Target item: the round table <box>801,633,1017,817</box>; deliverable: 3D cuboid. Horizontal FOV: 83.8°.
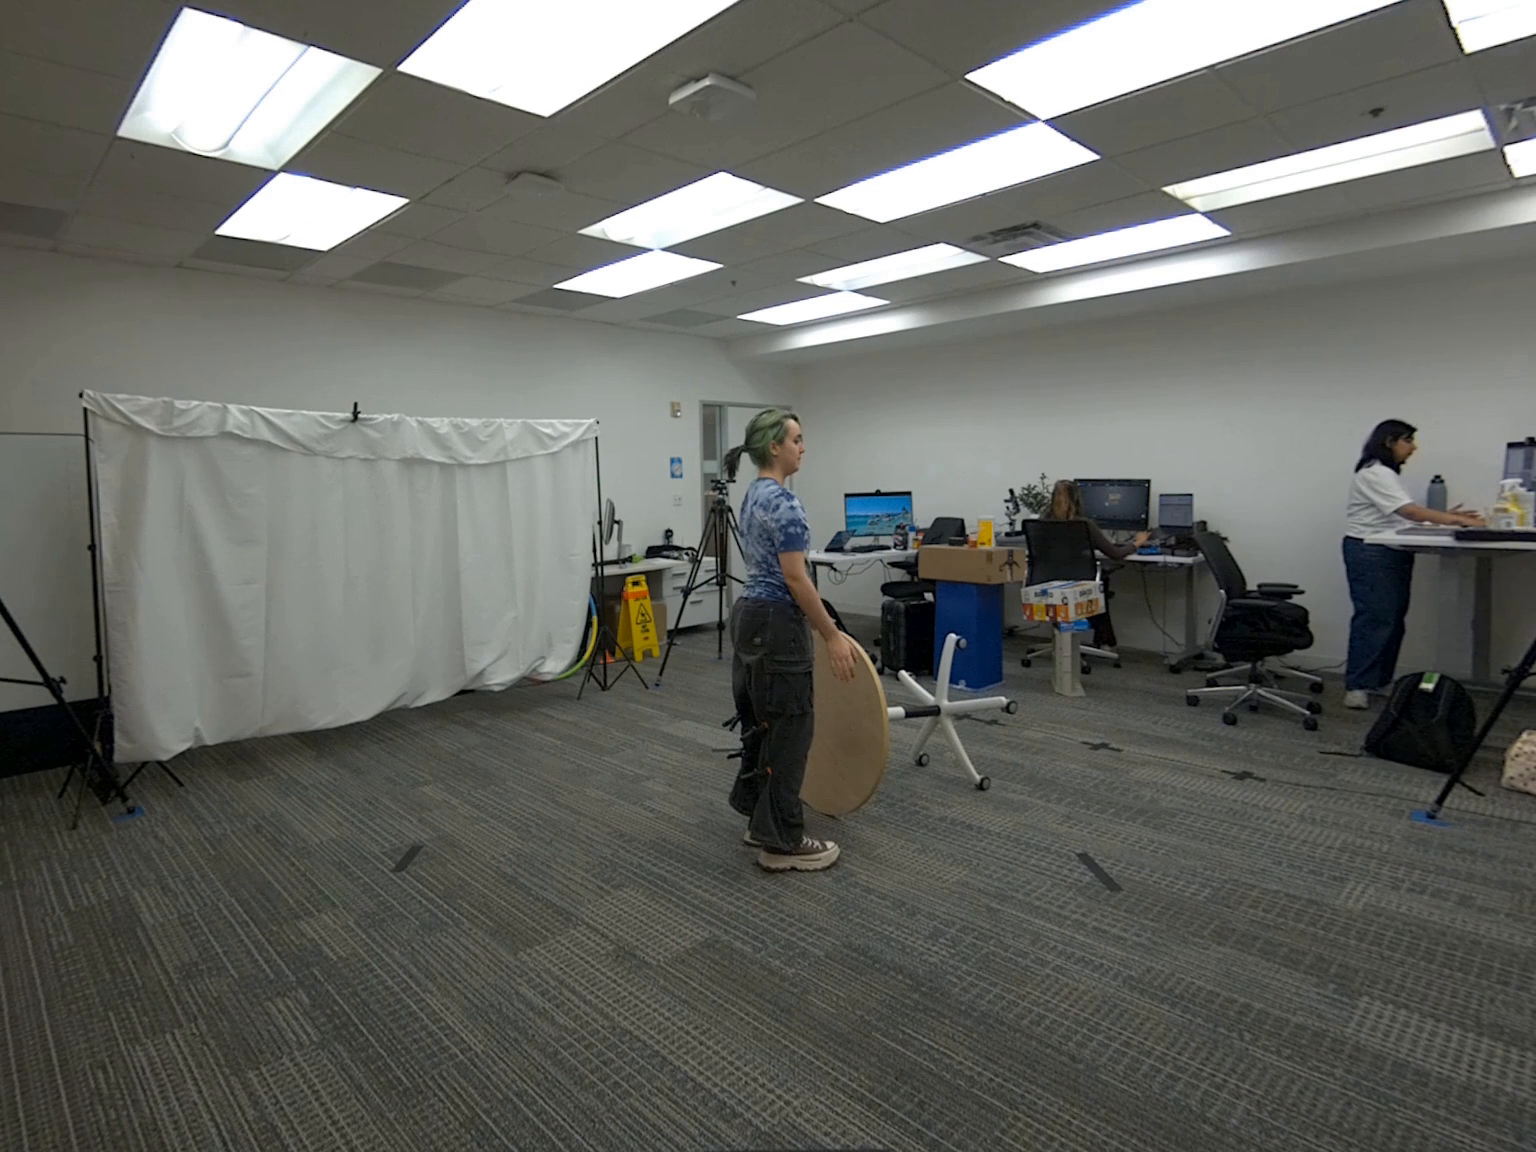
[{"bbox_3d":[0.568,0.619,3.789,0.772,0.763,0.785,3,2,-32],"label":"round table"}]
